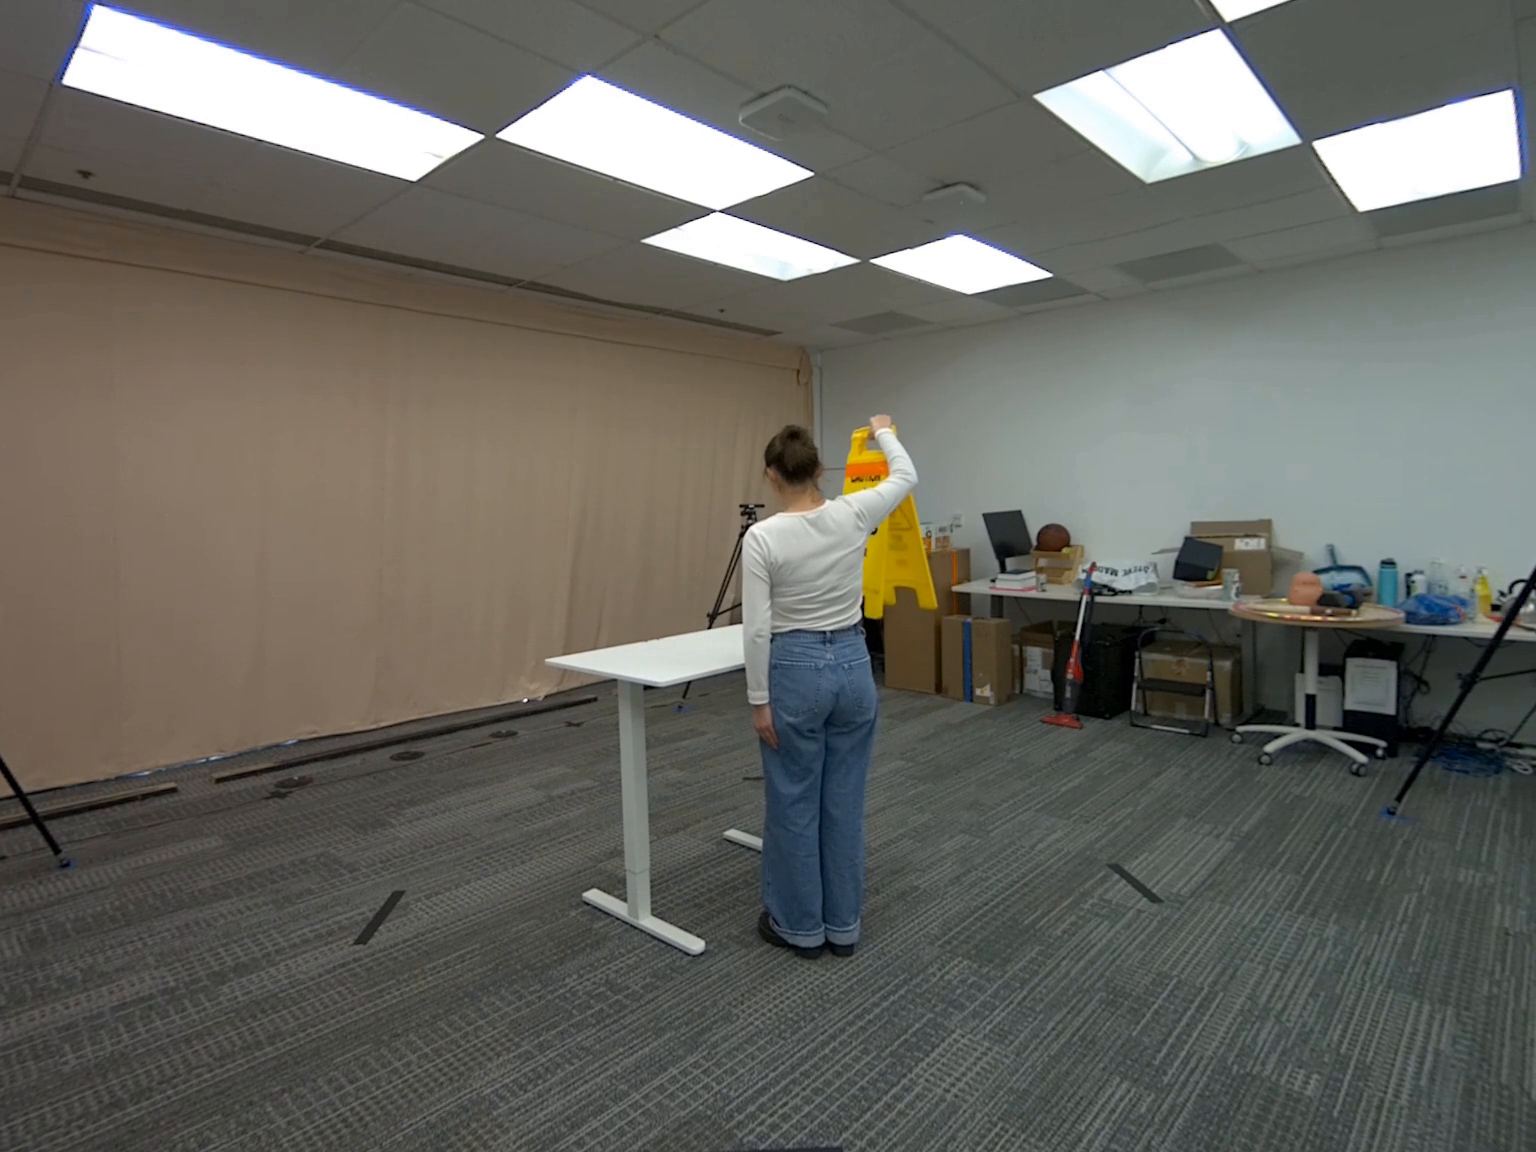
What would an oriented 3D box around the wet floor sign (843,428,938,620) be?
[{"bbox_3d":[0.389,-0.197,2.965,0.281,0.645,0.291,-4,4,-35],"label":"wet floor sign"}]
